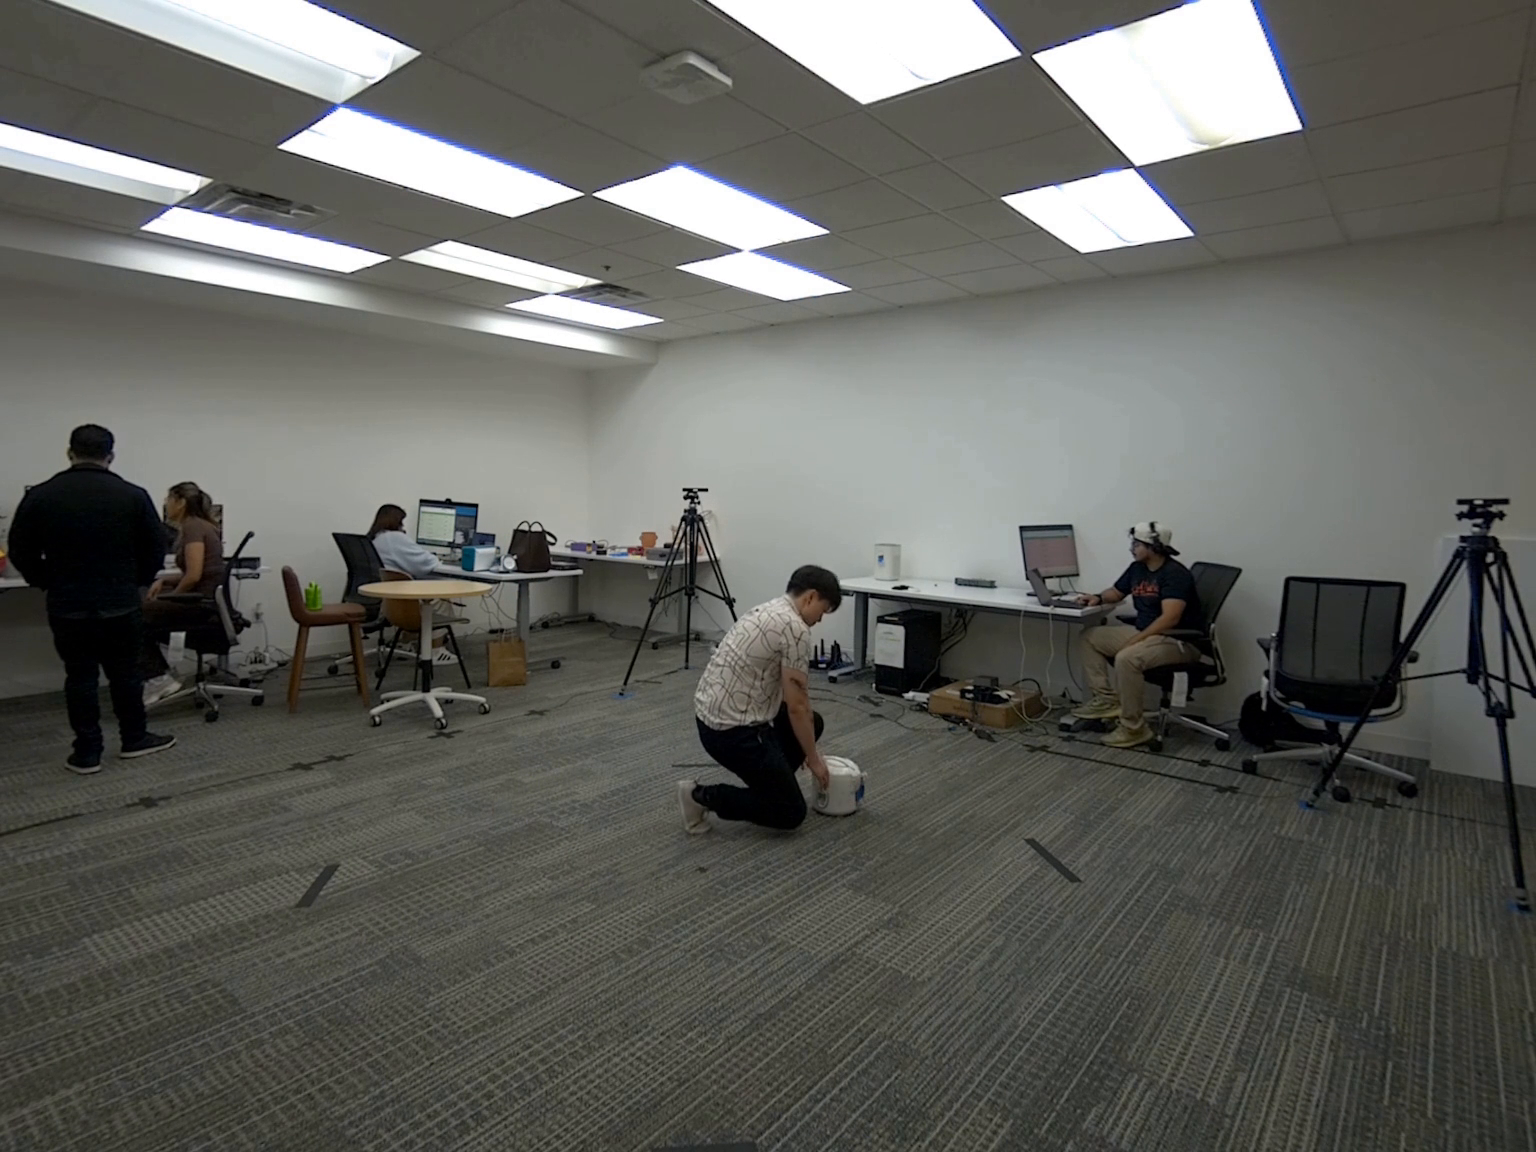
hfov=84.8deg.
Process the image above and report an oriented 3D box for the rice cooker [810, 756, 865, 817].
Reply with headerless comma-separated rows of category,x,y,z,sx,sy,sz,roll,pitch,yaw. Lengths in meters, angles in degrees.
rice cooker,0.288,0.909,3.723,0.228,0.232,0.211,4,4,37
